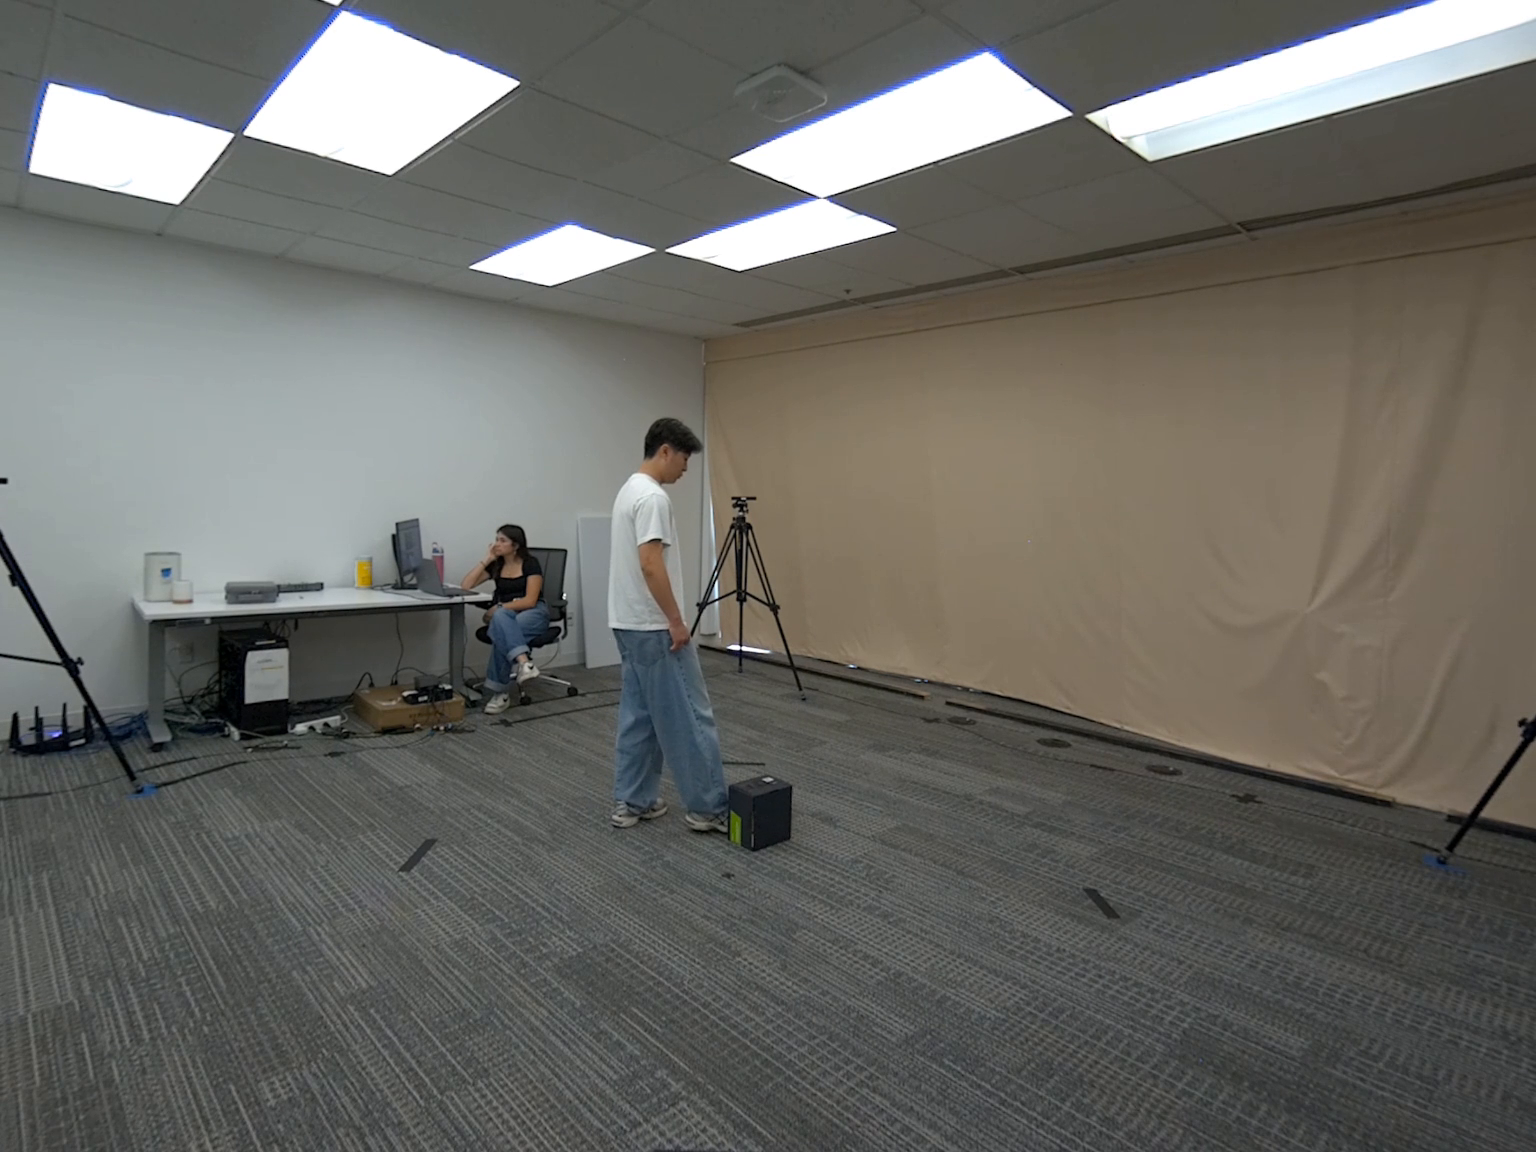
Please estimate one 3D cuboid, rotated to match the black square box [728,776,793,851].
[{"bbox_3d":[-0.035,0.961,3.425,0.212,0.227,0.160,-2,6,-42],"label":"black square box"}]
